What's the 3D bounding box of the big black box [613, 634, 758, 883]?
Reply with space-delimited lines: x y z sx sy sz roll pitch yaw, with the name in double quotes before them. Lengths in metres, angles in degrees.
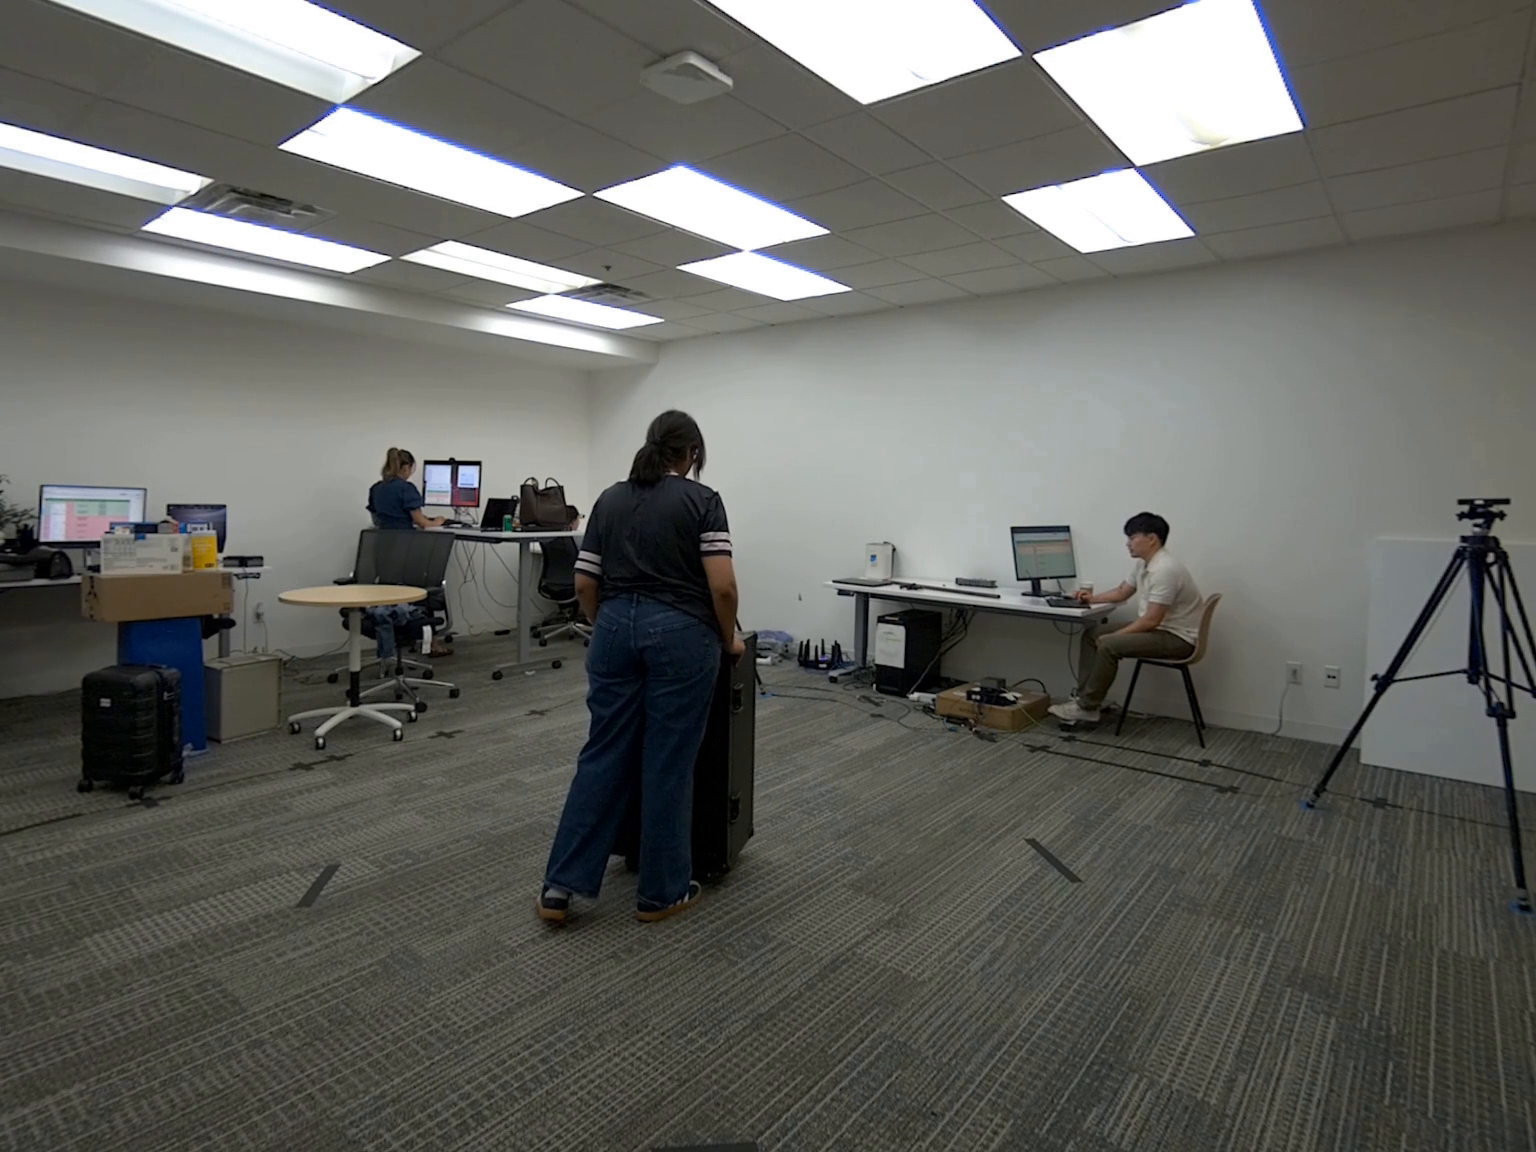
"big black box" -0.334 0.641 3.163 0.531 0.860 0.390 2 2 16
